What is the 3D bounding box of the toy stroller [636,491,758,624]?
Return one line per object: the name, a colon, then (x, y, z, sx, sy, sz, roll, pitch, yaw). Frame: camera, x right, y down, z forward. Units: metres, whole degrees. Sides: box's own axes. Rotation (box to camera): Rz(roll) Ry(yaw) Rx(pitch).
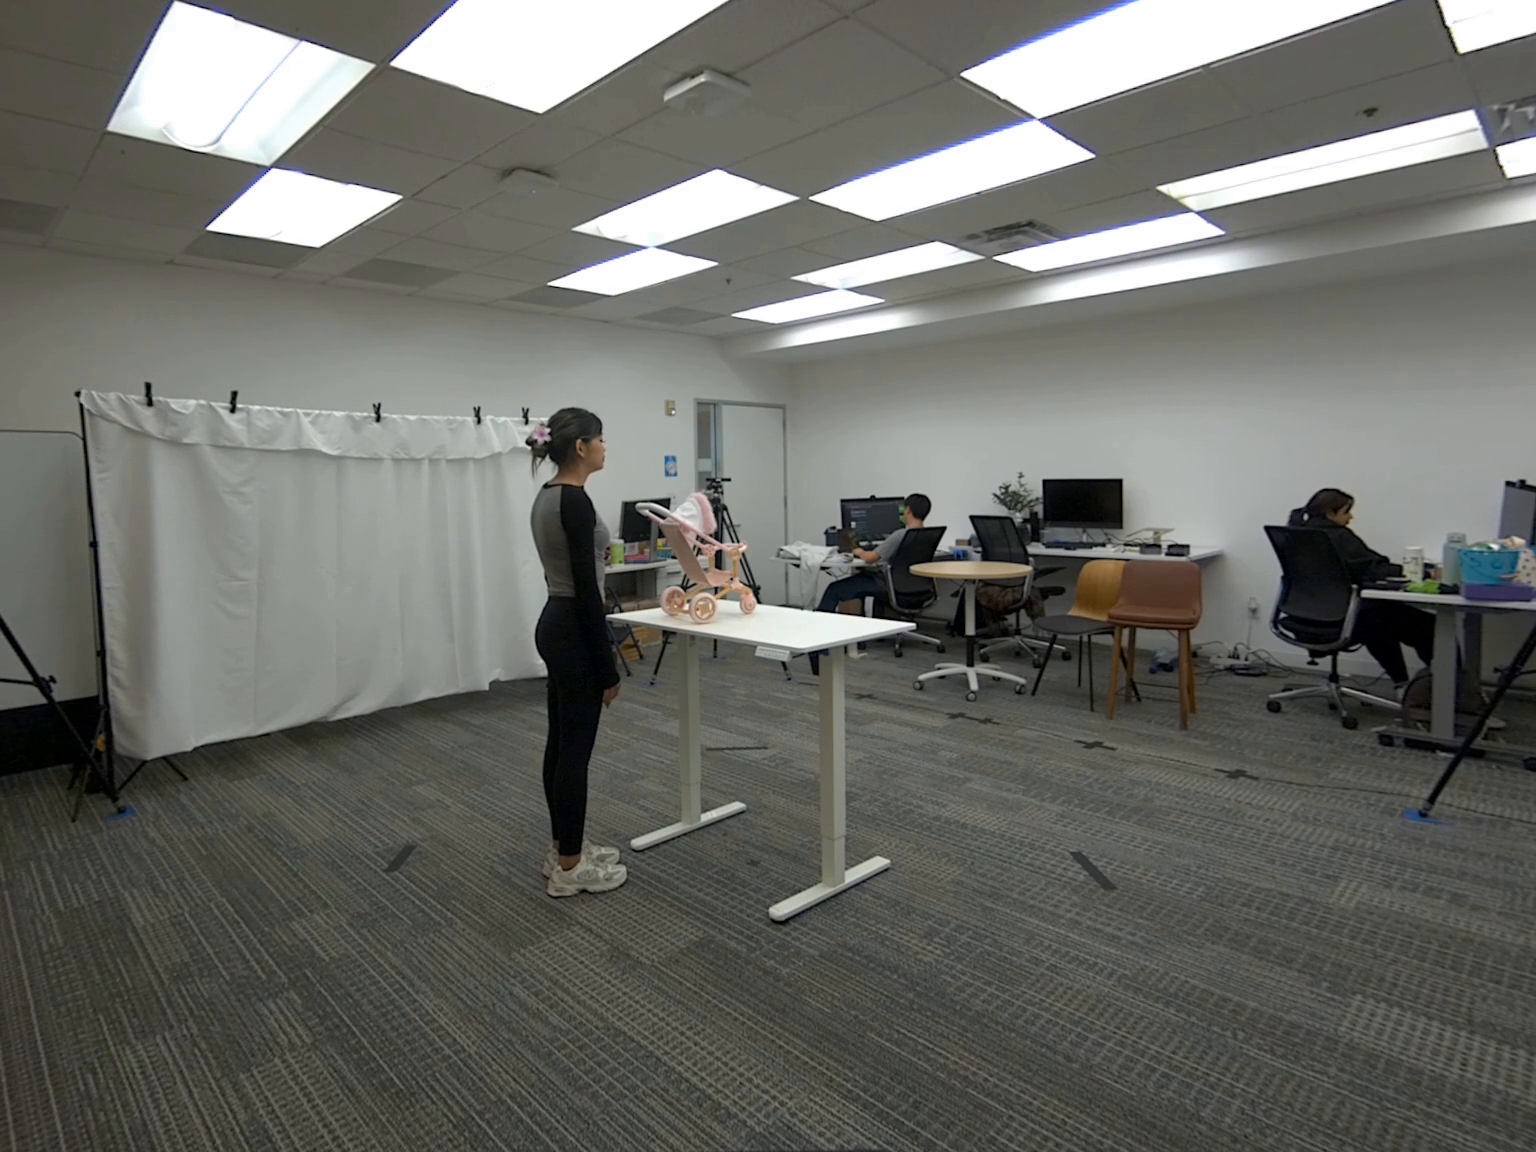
toy stroller: (-0.241, -0.068, 3.151, 0.337, 0.529, 0.288, -20, 11, -23)
